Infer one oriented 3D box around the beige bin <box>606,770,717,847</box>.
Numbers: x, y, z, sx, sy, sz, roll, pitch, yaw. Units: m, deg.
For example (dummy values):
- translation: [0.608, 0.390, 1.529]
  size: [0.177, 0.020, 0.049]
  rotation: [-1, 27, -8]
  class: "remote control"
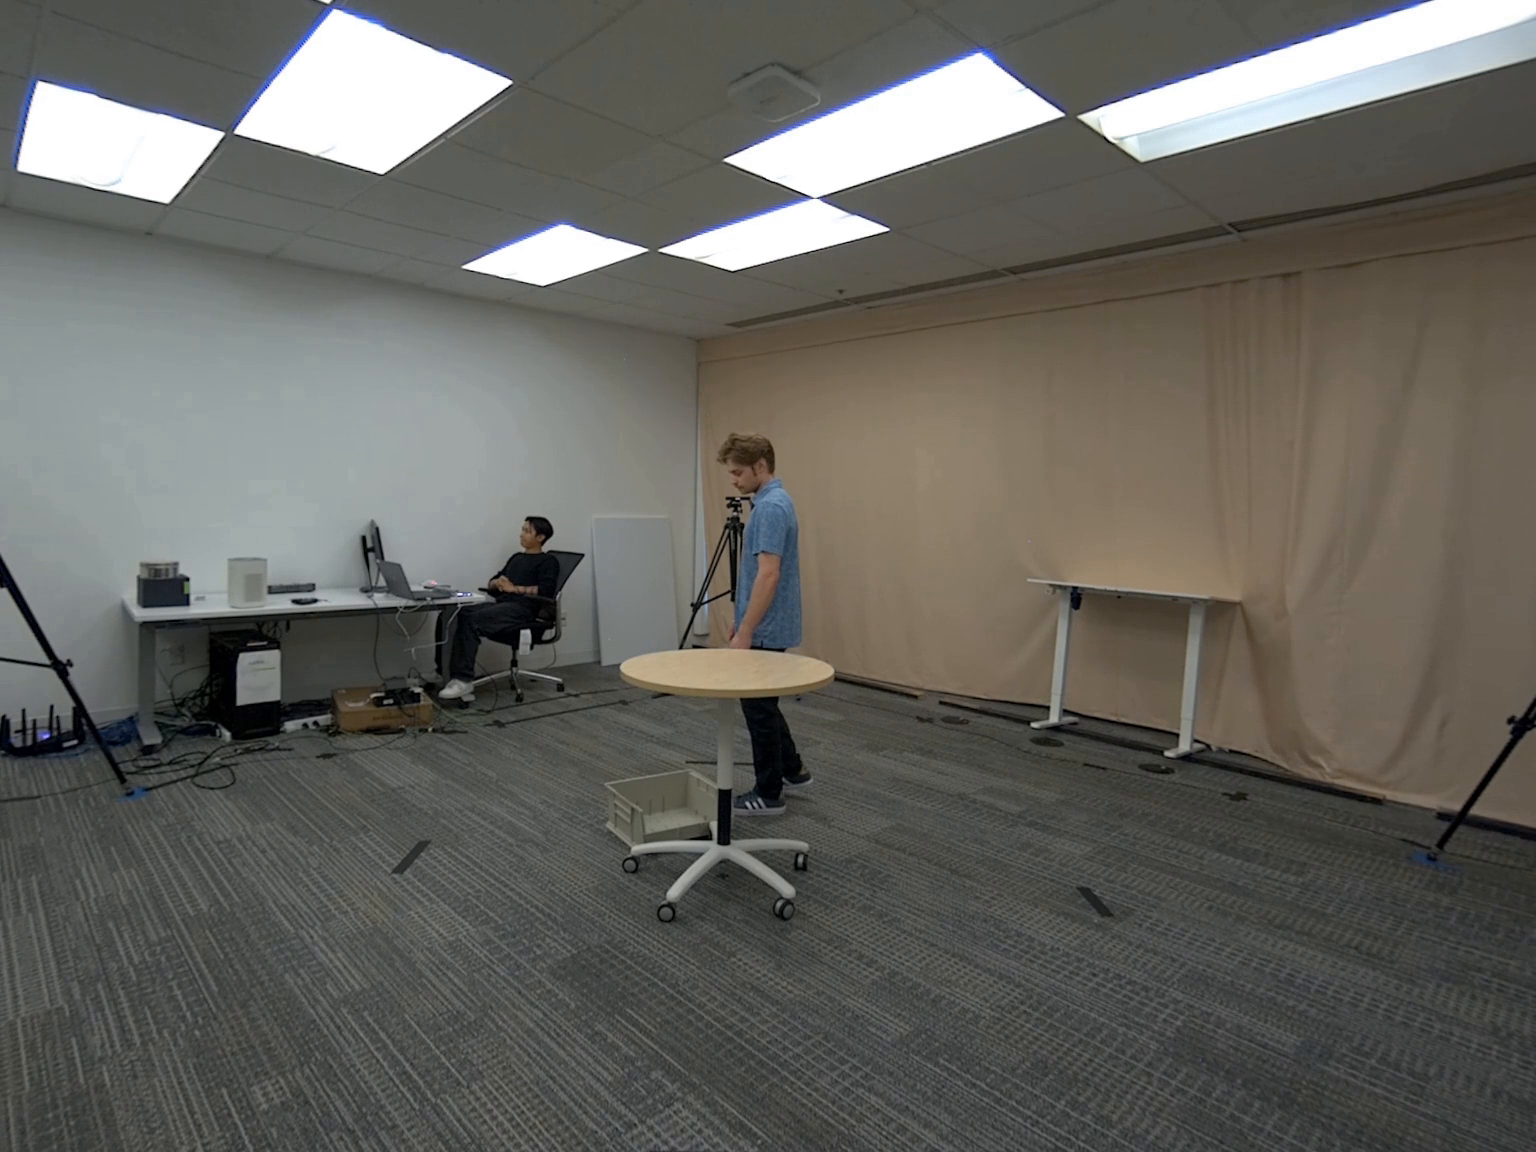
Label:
- translation: [-0.425, 0.980, 3.509]
  size: [0.413, 0.188, 0.386]
  rotation: [-2, 5, -33]
  class: "beige bin"
